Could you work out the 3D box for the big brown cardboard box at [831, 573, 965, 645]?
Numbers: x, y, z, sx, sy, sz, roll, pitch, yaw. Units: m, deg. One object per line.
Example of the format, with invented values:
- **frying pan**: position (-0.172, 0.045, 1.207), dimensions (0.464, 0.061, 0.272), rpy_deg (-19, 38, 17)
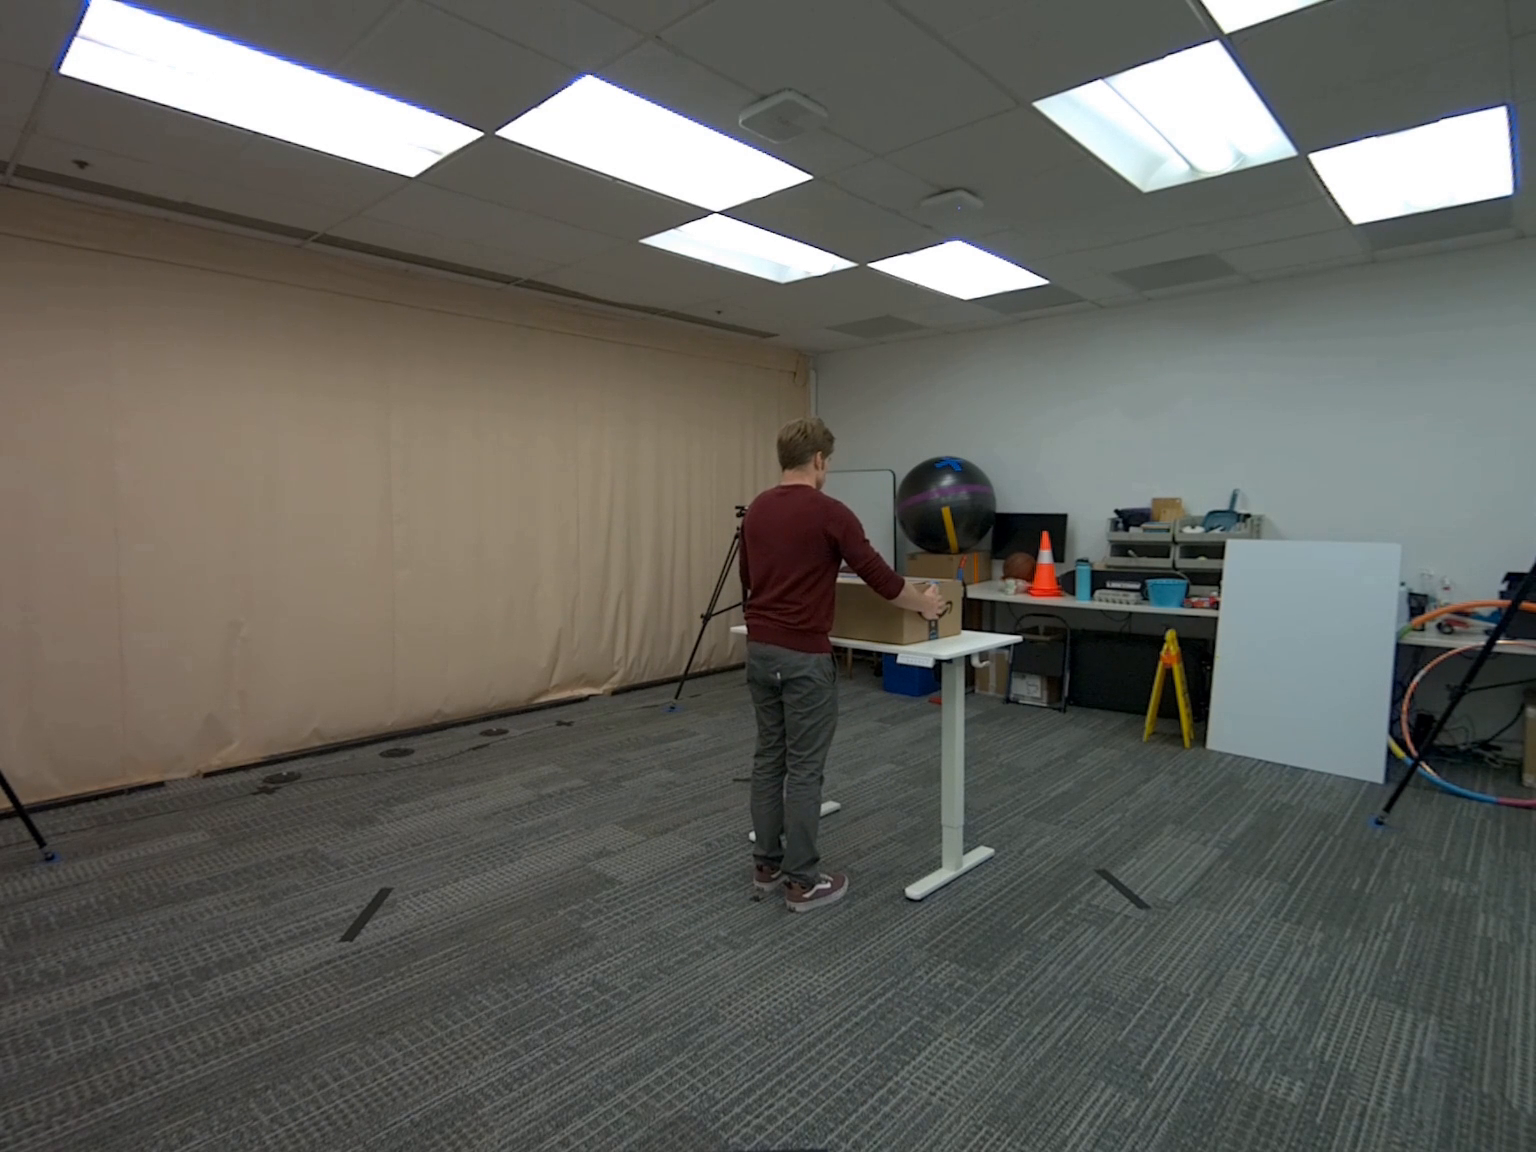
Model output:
- **big brown cardboard box**: position (0.415, 0.118, 3.372), dimensions (0.609, 0.232, 0.405), rpy_deg (4, 6, 43)
